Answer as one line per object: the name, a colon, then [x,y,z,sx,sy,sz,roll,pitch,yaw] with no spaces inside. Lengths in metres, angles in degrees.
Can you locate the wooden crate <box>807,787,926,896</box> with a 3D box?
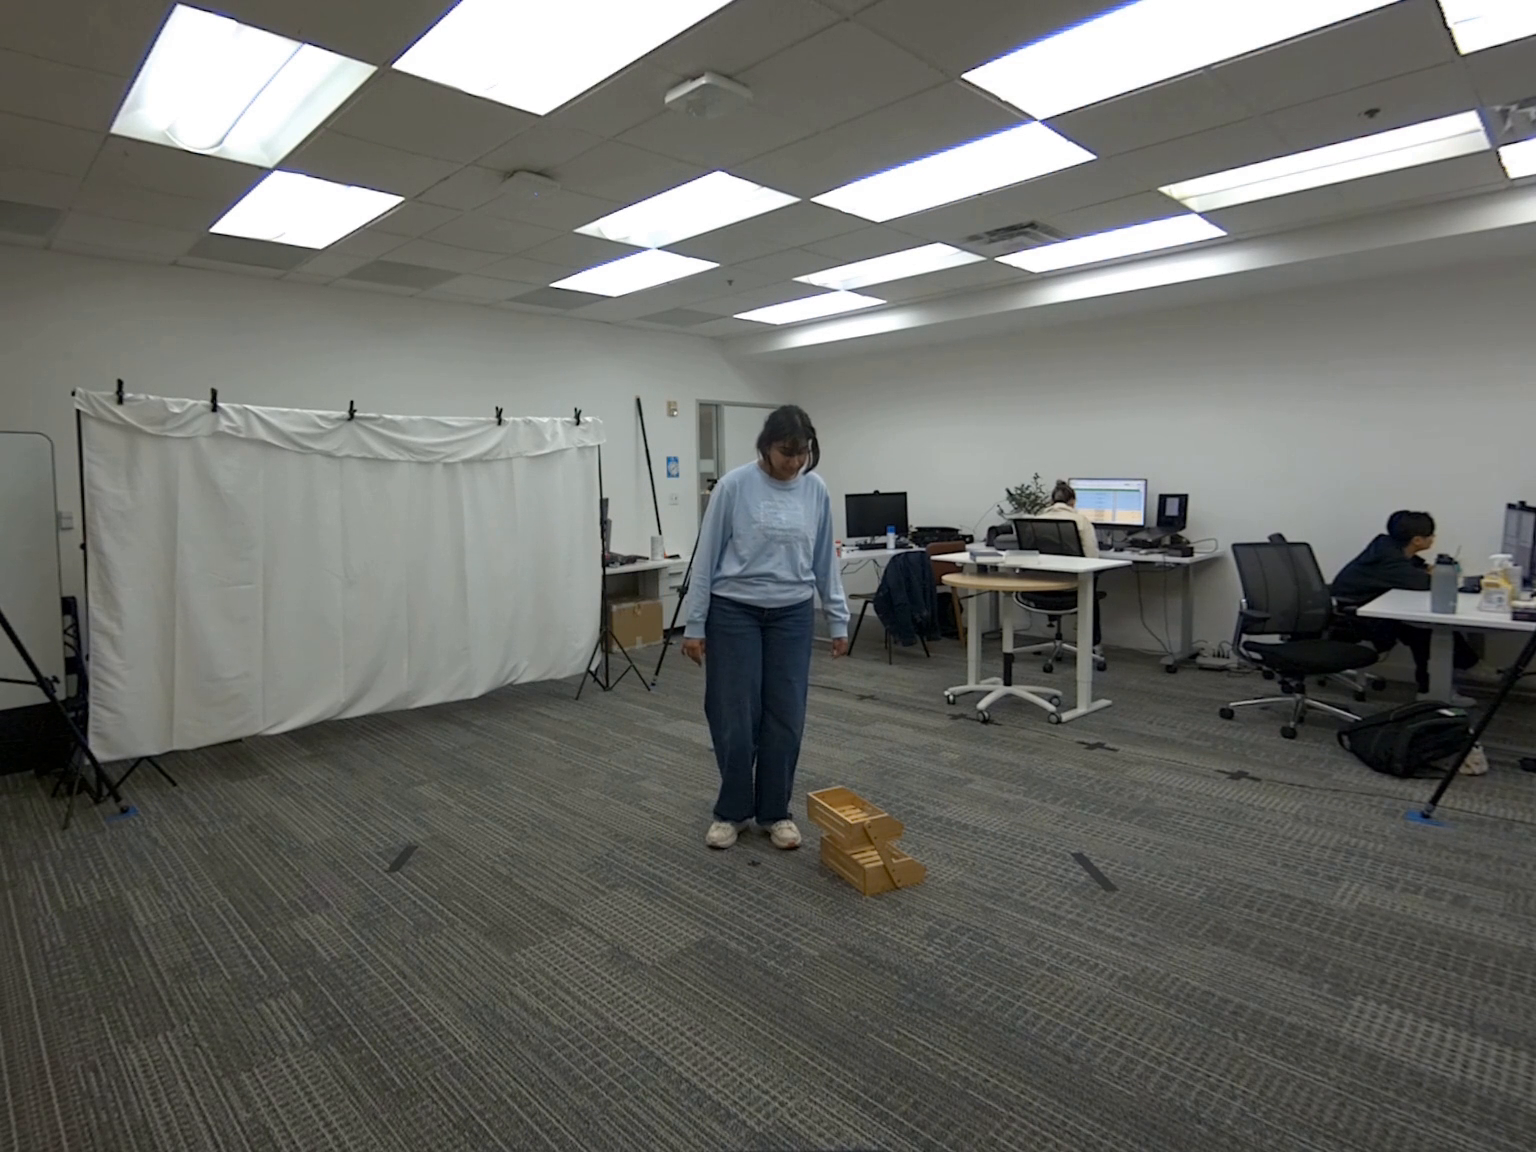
wooden crate: [0.353,0.915,3.019,0.296,0.272,0.332,-4,6,-25]
